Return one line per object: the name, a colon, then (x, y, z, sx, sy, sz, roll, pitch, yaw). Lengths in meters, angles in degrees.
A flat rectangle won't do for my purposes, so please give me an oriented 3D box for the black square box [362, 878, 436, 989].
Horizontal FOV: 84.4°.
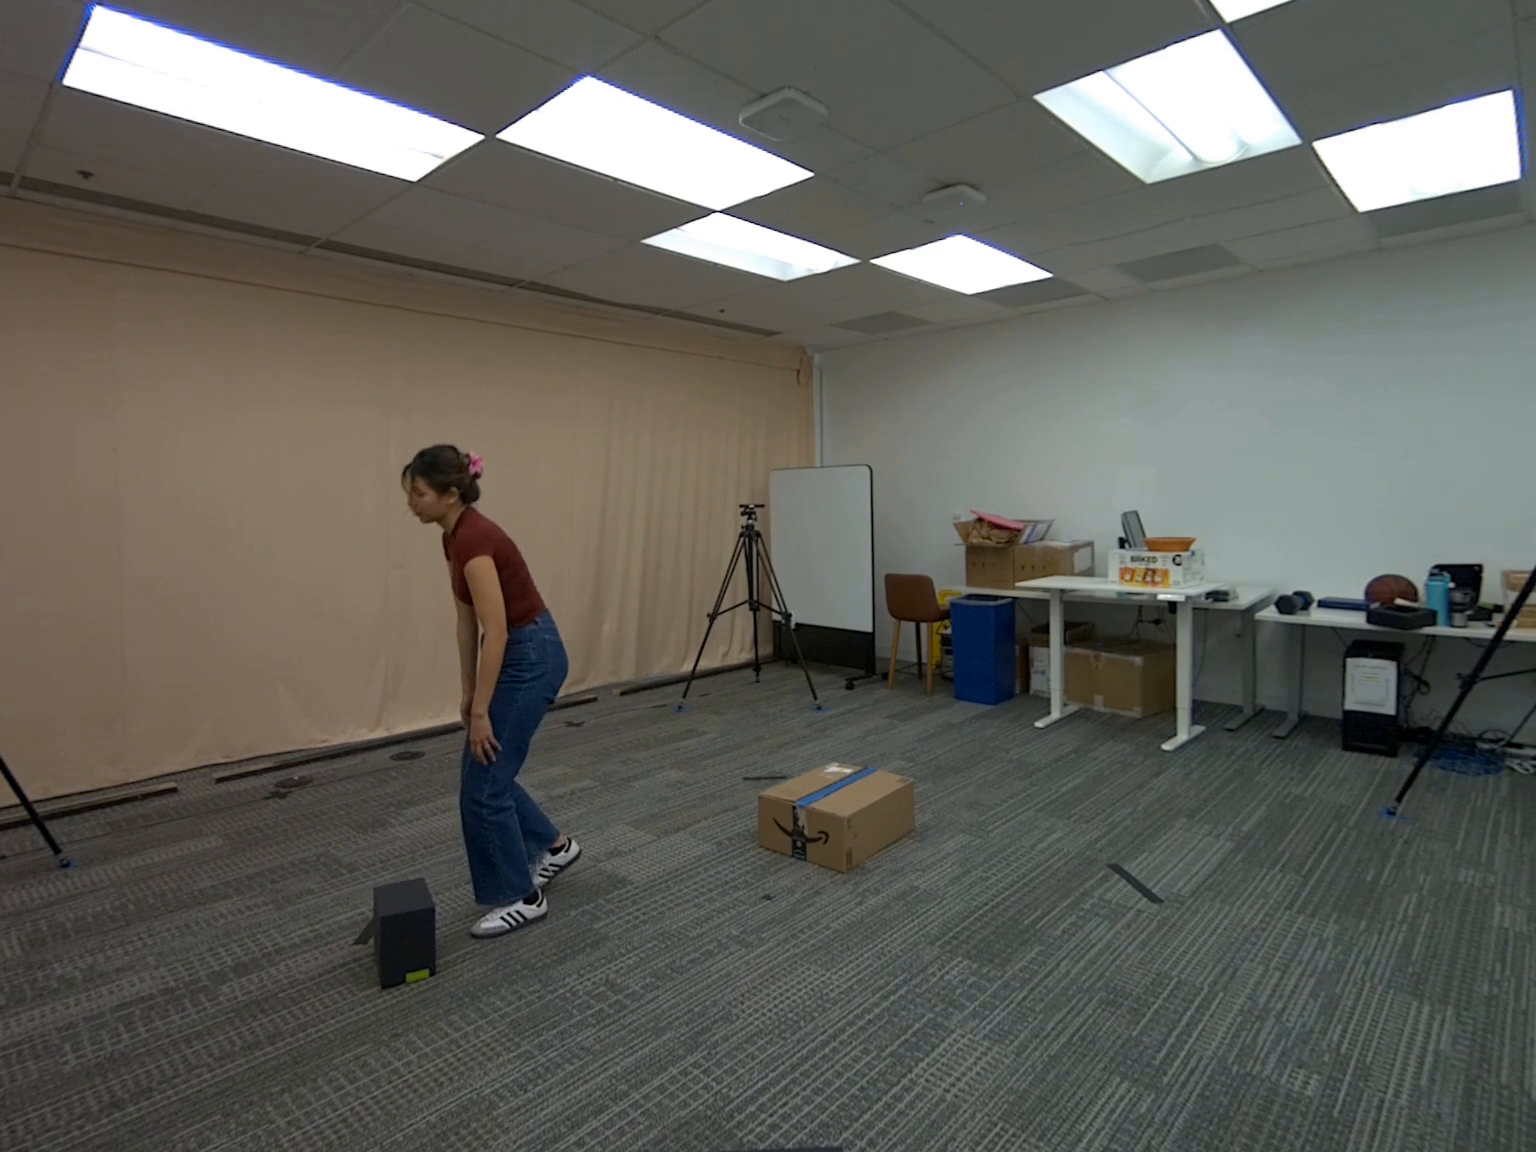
black square box: (-1.116, 1.081, 2.584, 0.152, 0.216, 0.234, -1, 5, -30)
